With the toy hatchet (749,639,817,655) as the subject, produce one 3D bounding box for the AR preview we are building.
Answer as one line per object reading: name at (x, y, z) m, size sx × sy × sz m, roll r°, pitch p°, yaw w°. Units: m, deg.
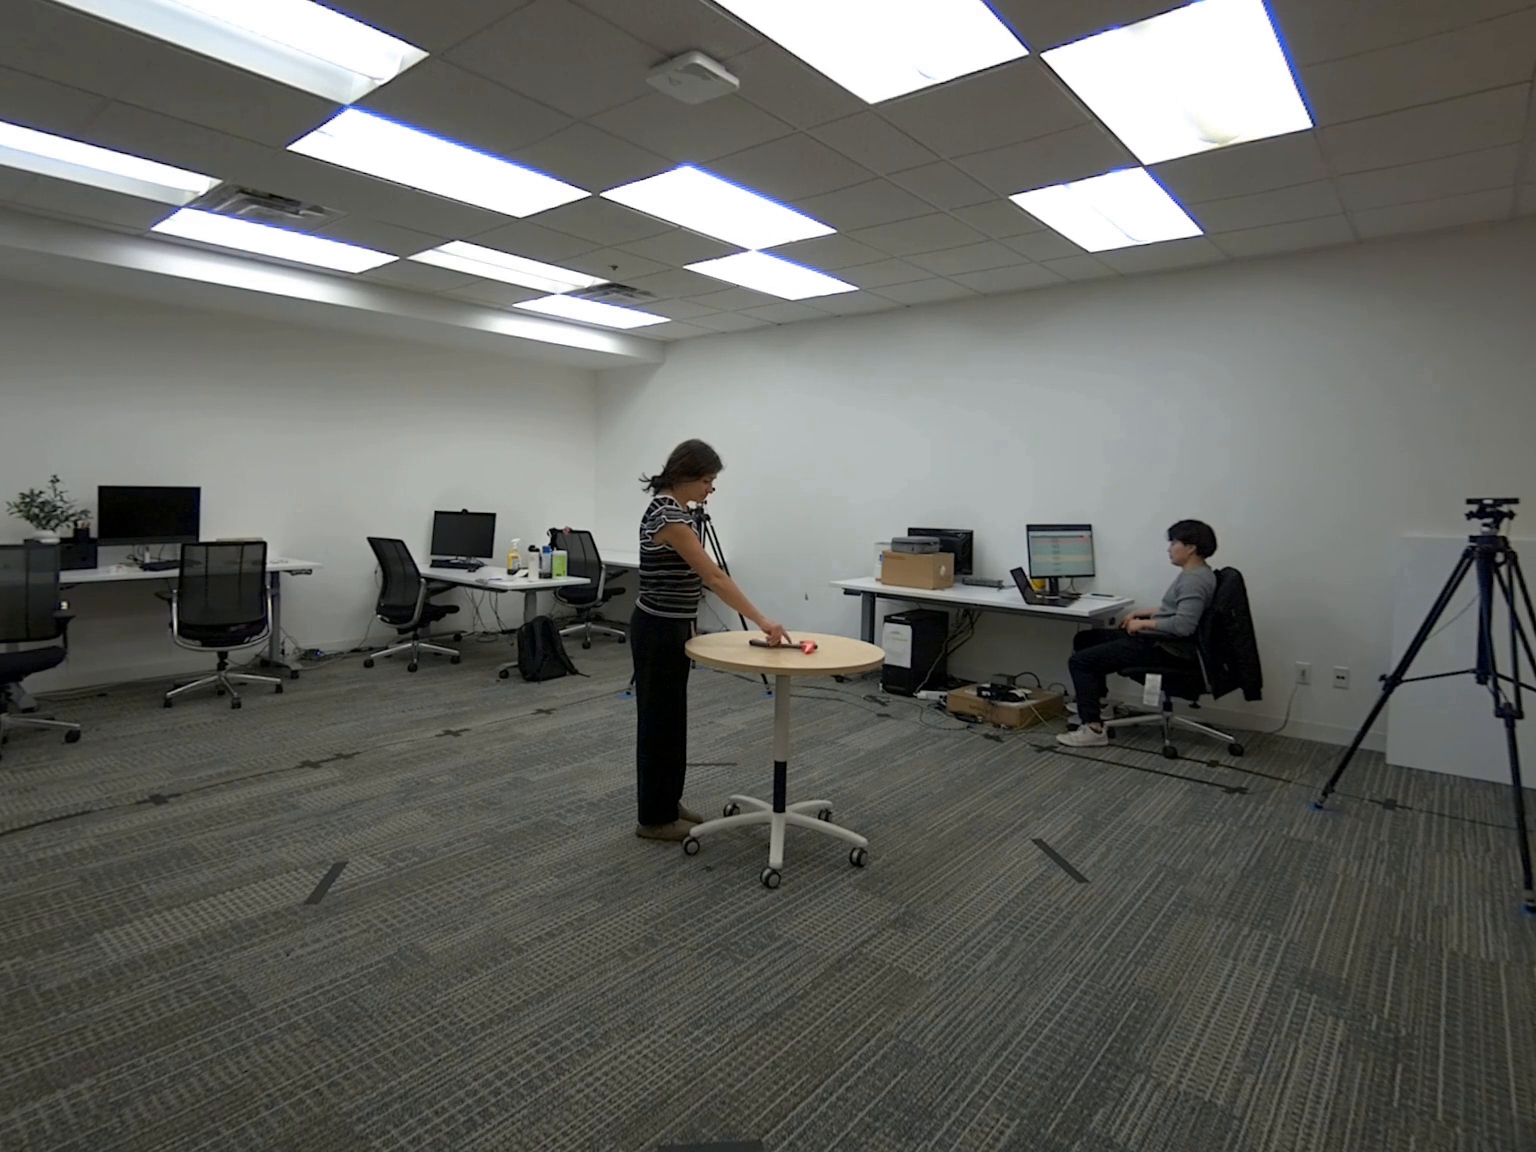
toy hatchet at (0.054, 0.254, 3.277) m, size 0.279 × 0.029 × 0.128 m, roll 6°, pitch 17°, yaw 35°
